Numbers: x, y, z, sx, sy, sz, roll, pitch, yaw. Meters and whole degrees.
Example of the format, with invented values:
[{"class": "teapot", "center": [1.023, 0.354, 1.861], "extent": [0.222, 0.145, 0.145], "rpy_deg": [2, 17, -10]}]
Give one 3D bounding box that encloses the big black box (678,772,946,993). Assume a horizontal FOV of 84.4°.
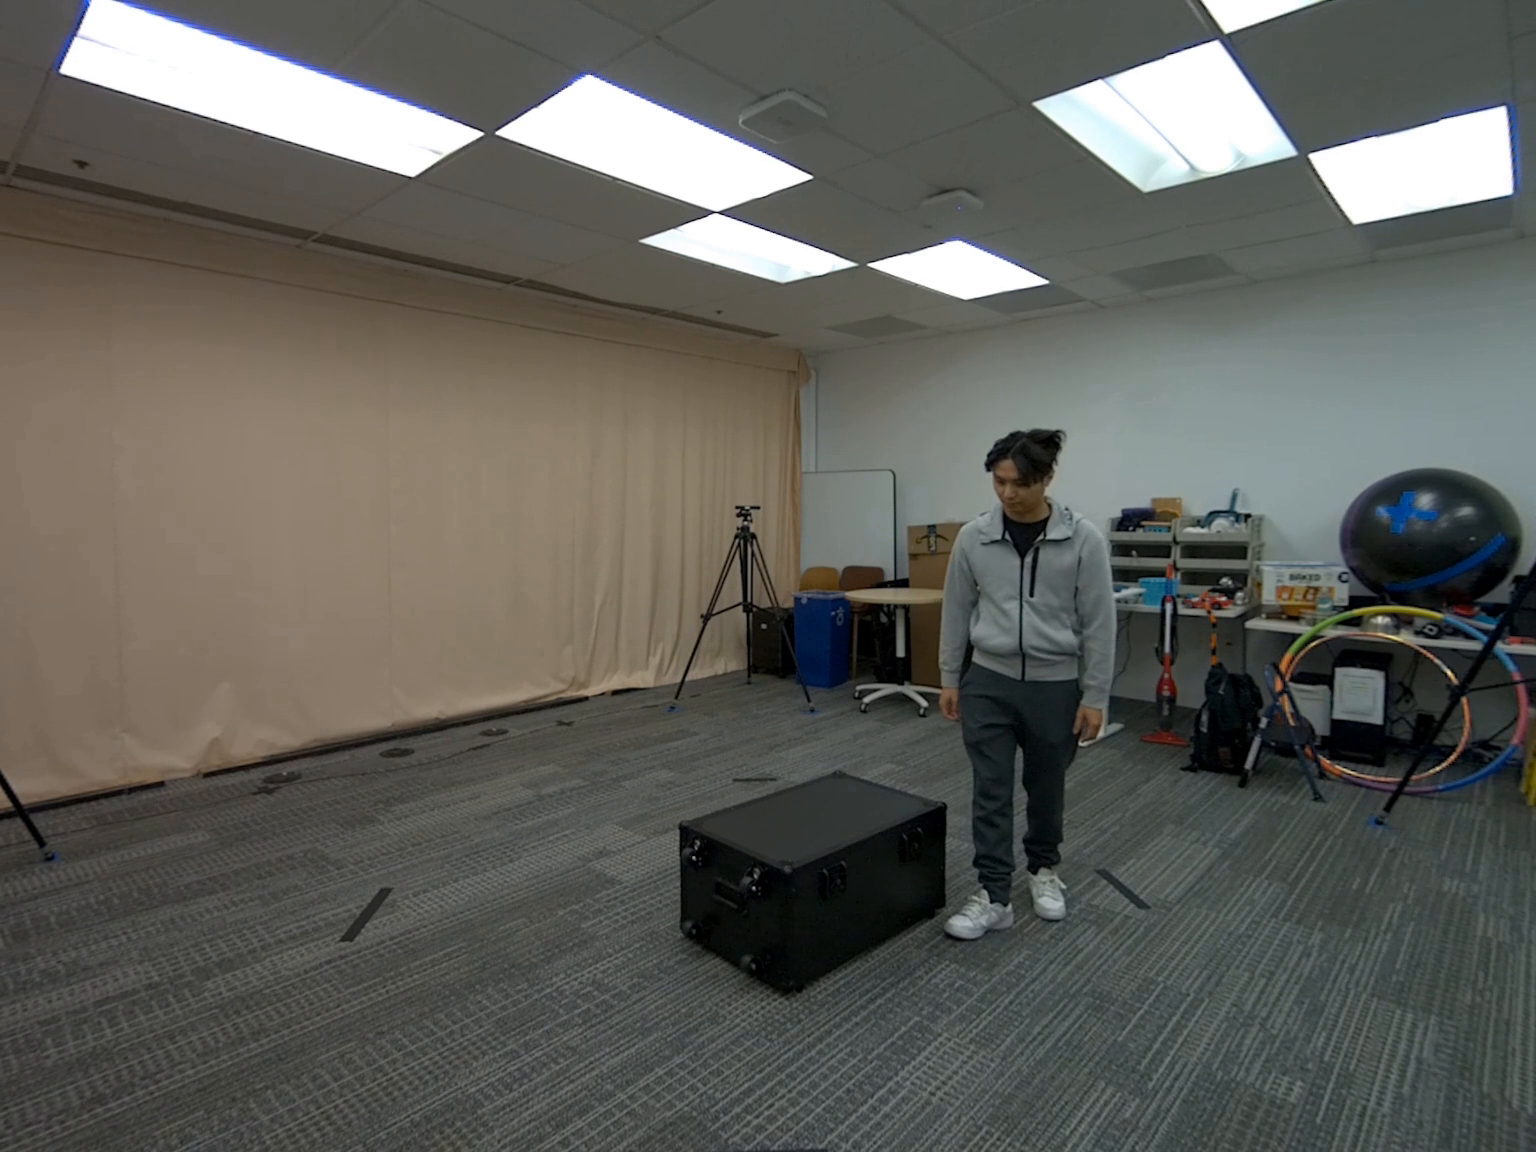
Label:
[{"class": "big black box", "center": [0.141, 0.970, 2.768], "extent": [0.835, 0.395, 0.539], "rpy_deg": [-4, 5, -43]}]
